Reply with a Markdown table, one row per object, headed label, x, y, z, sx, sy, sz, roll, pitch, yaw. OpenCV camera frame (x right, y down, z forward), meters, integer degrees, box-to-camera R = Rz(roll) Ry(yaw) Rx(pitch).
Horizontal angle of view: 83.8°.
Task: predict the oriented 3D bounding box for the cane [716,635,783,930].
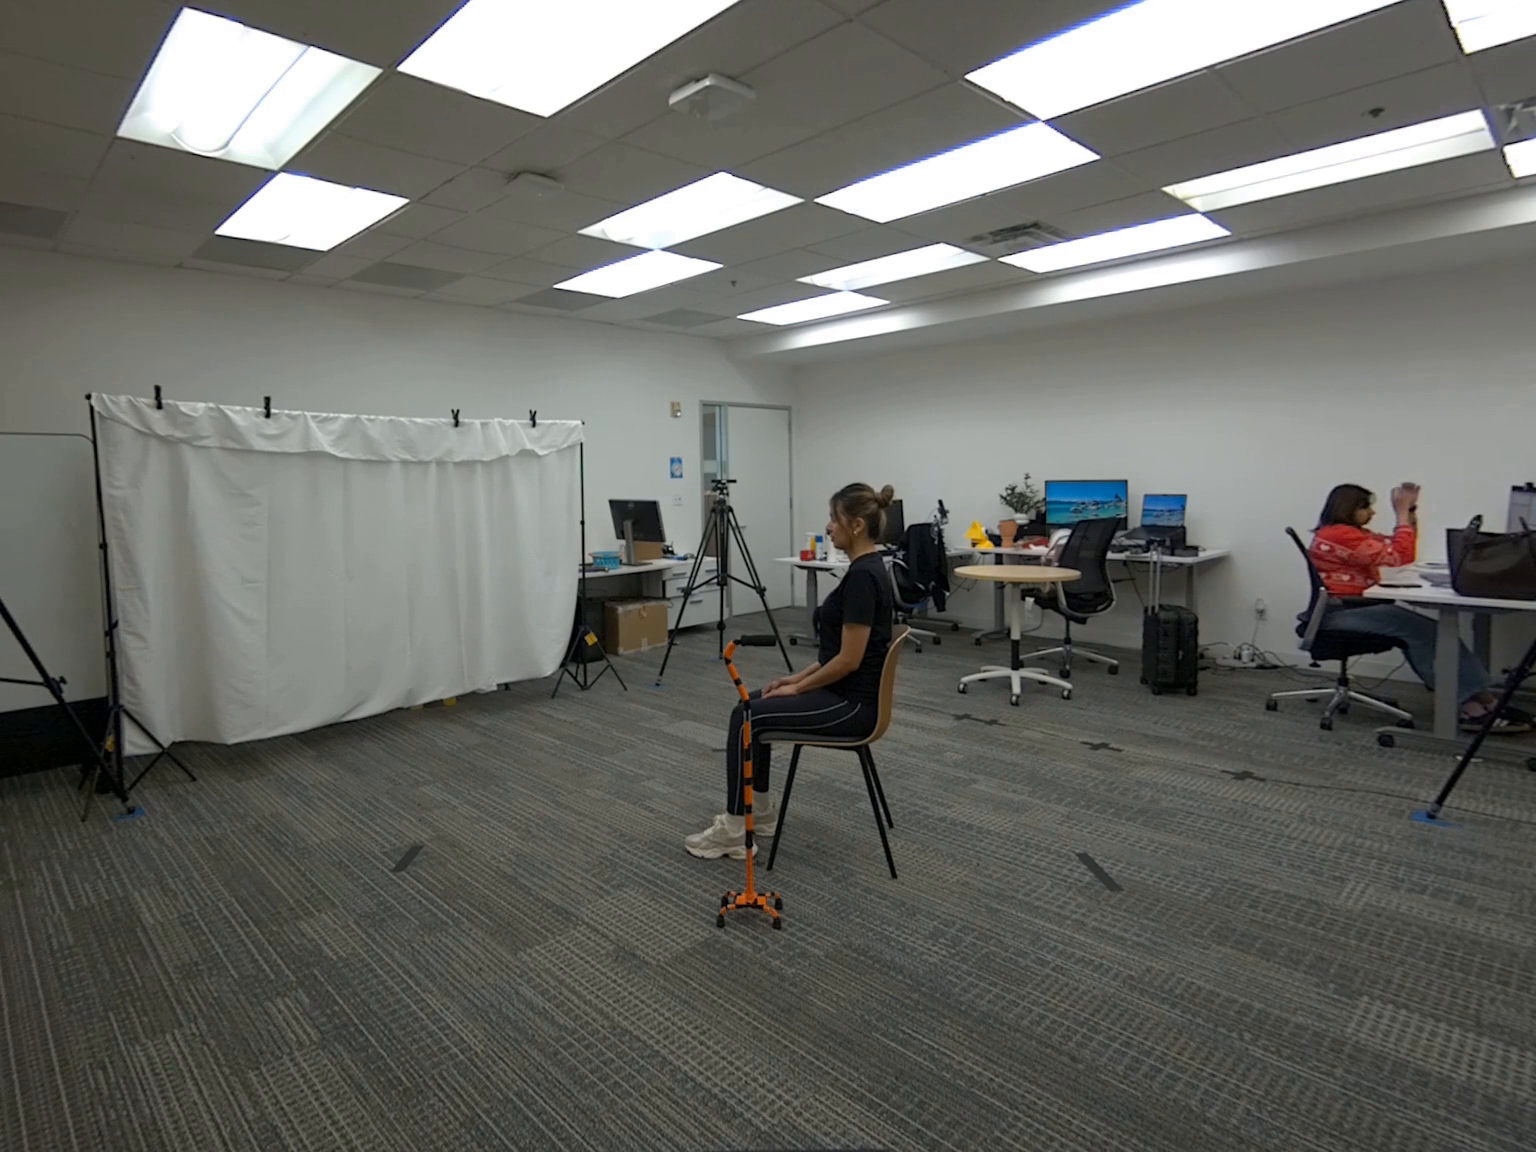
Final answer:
| label | x | y | z | sx | sy | sz | roll | pitch | yaw |
| --- | --- | --- | --- | --- | --- | --- | --- | --- | --- |
| cane | -0.065 | 0.641 | 2.702 | 0.207 | 0.906 | 0.151 | -2 | 3 | 3 |
